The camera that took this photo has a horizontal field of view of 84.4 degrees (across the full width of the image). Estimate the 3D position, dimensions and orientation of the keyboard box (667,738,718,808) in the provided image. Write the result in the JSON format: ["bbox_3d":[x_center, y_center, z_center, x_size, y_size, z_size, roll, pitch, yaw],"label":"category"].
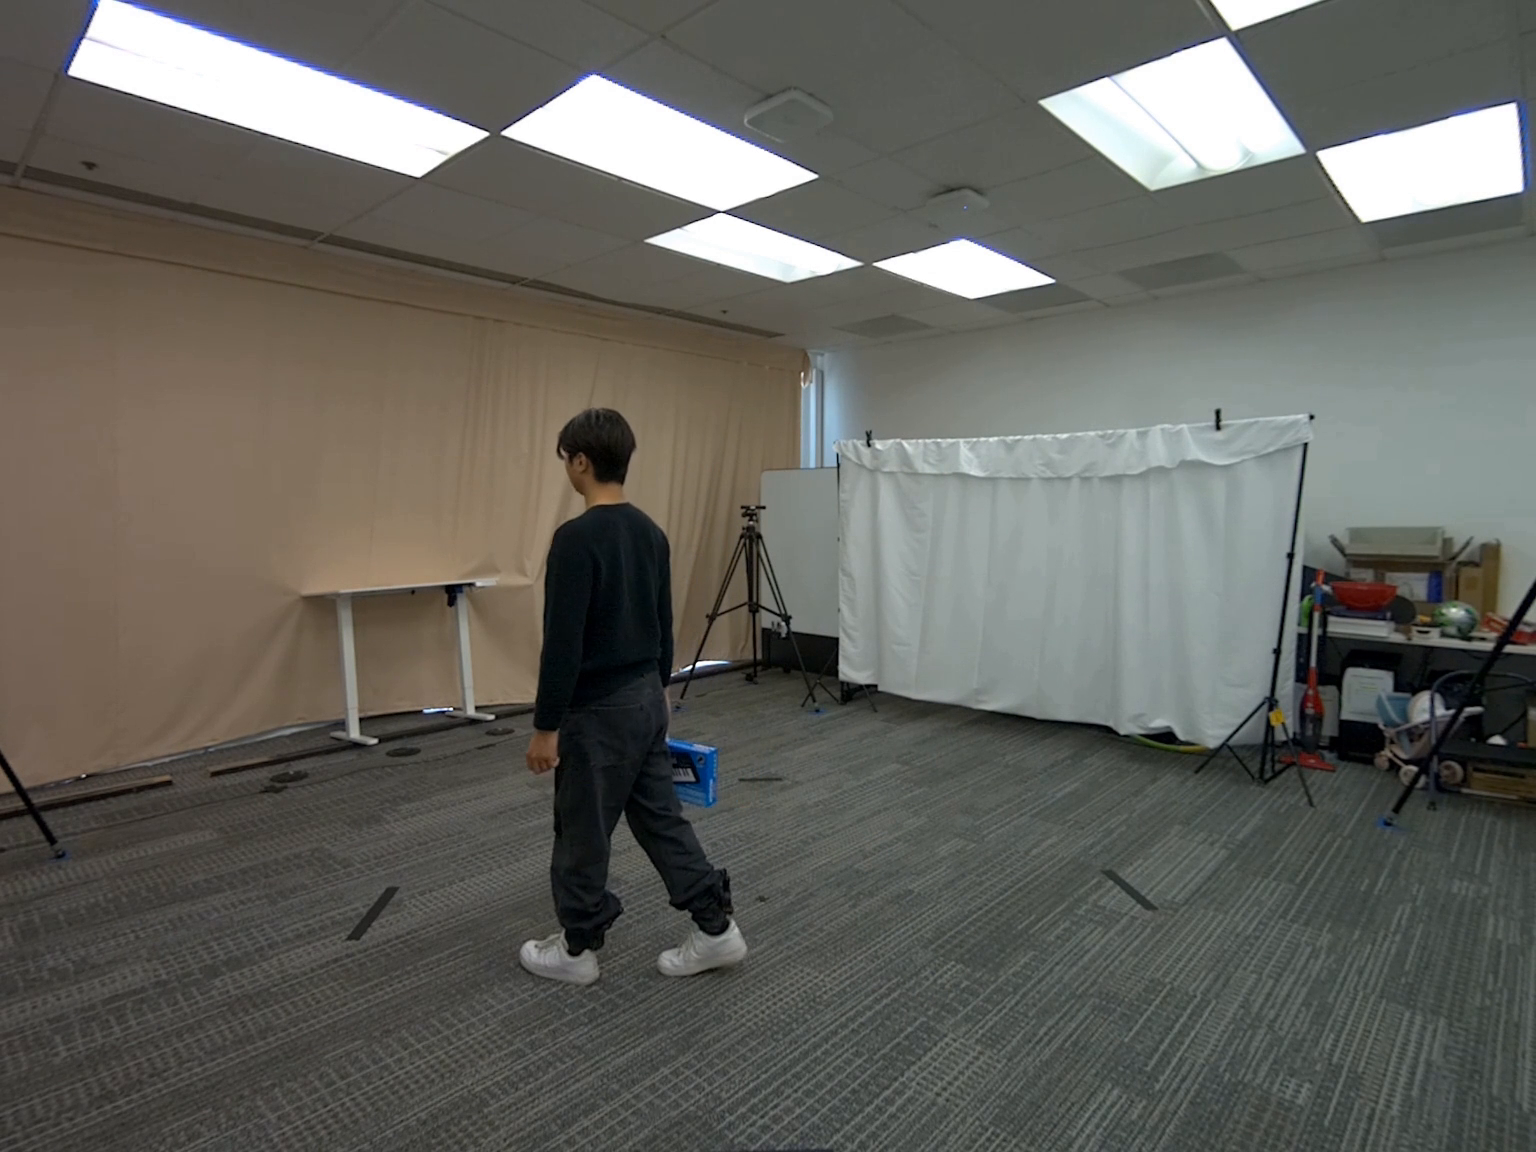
[{"bbox_3d":[-0.361,0.614,2.725,0.450,0.175,0.057,4,5,32],"label":"keyboard box"}]
